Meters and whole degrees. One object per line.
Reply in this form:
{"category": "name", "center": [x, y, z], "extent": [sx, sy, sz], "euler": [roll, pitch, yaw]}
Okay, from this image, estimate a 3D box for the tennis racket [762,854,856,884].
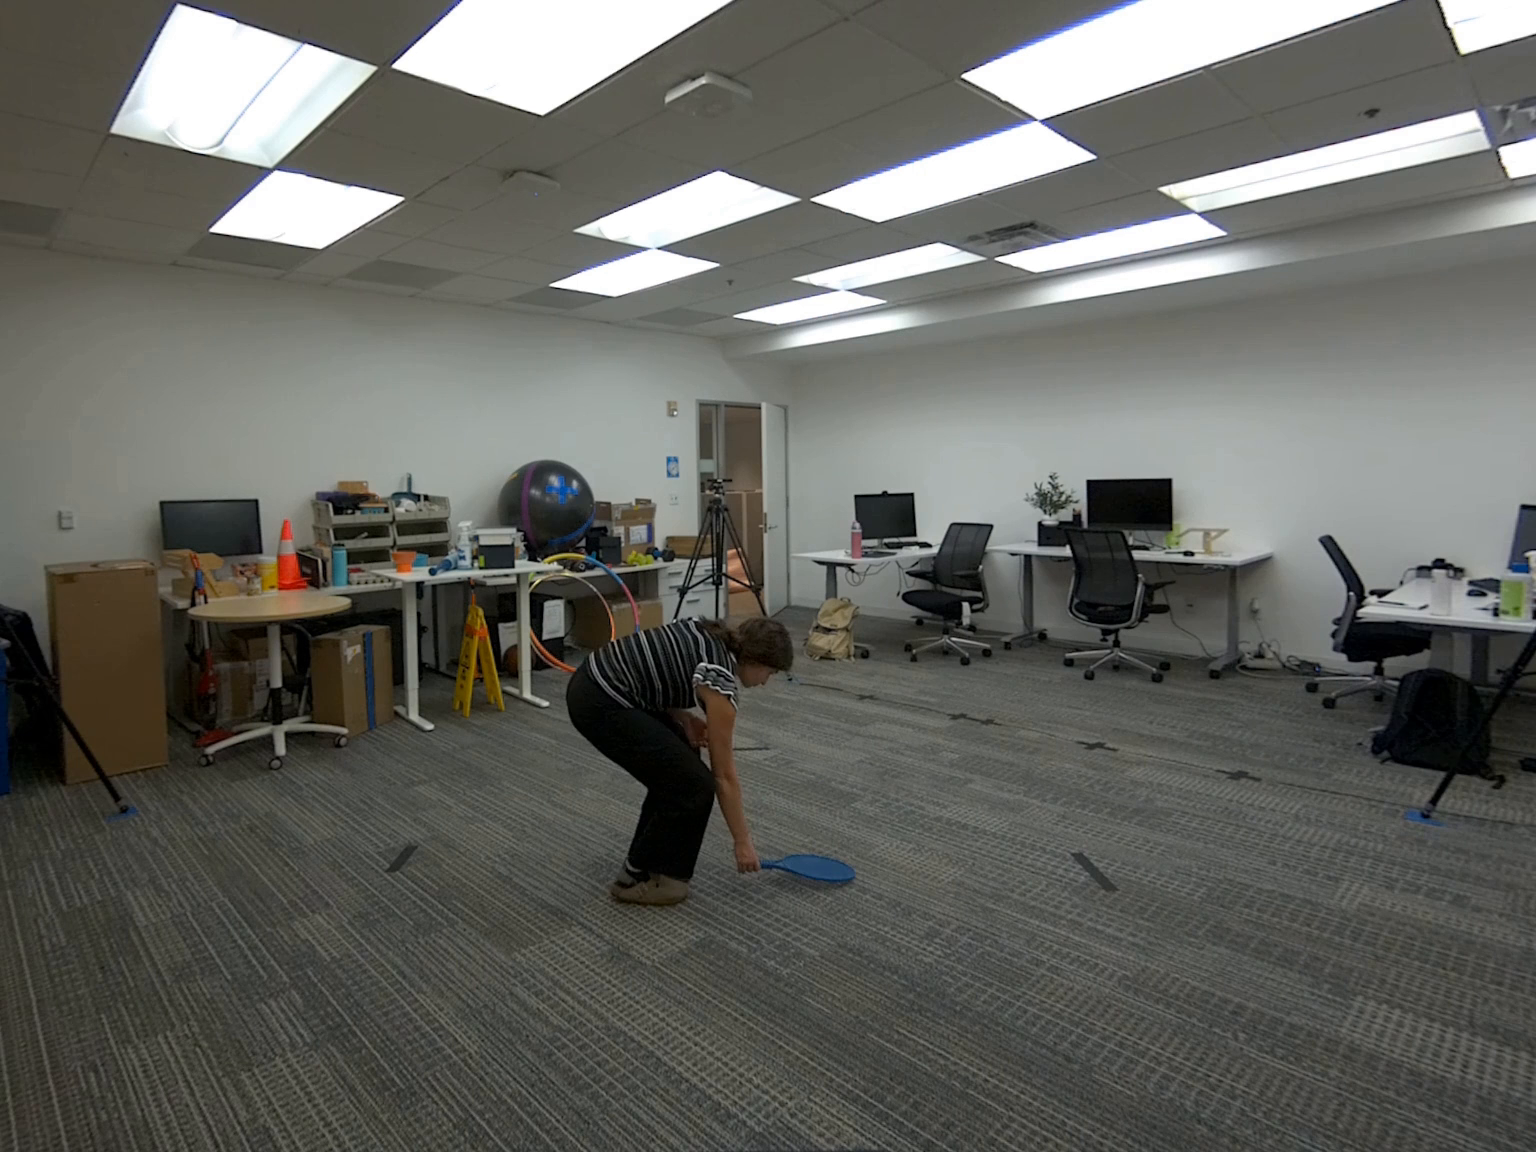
{"category": "tennis racket", "center": [0.103, 1.007, 2.981], "extent": [0.426, 0.032, 0.217], "euler": [8, 2, -15]}
